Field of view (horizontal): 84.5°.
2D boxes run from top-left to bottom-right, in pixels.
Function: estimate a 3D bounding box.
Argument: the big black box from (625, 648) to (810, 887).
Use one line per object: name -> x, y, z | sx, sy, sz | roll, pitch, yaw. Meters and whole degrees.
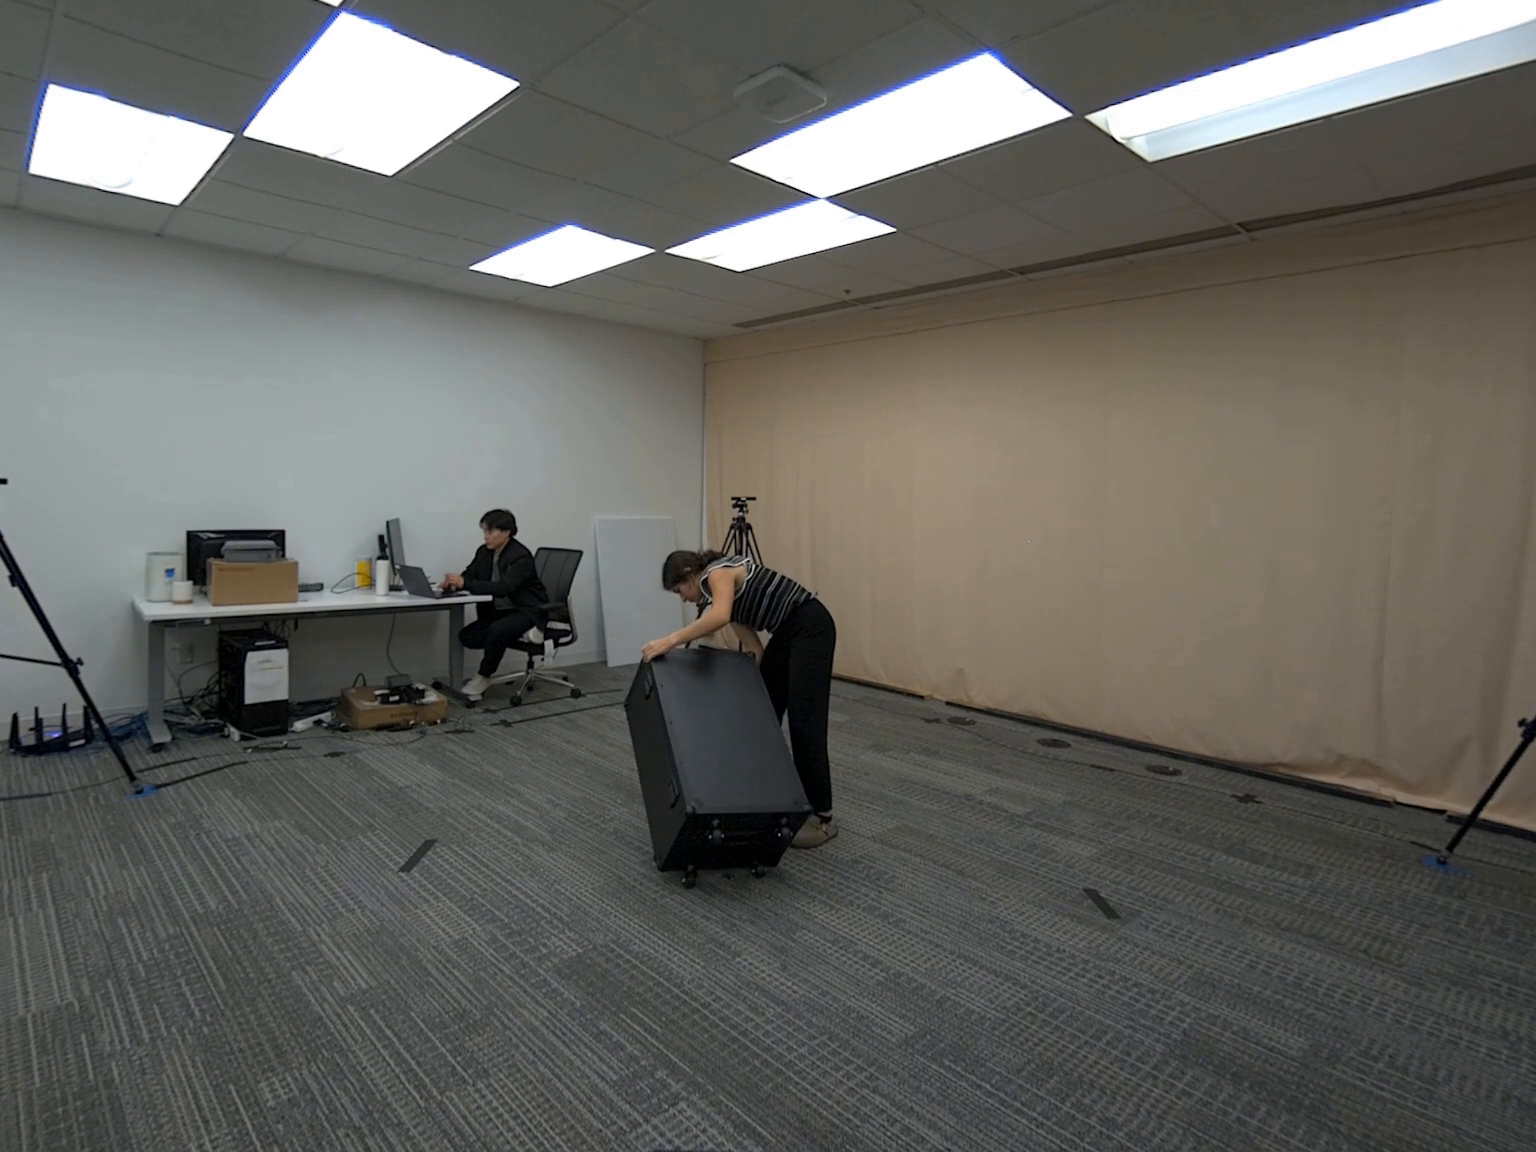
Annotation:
big black box -> -0.232, 0.728, 3.277 | 0.511, 0.392, 0.887 | 6, 37, -26
